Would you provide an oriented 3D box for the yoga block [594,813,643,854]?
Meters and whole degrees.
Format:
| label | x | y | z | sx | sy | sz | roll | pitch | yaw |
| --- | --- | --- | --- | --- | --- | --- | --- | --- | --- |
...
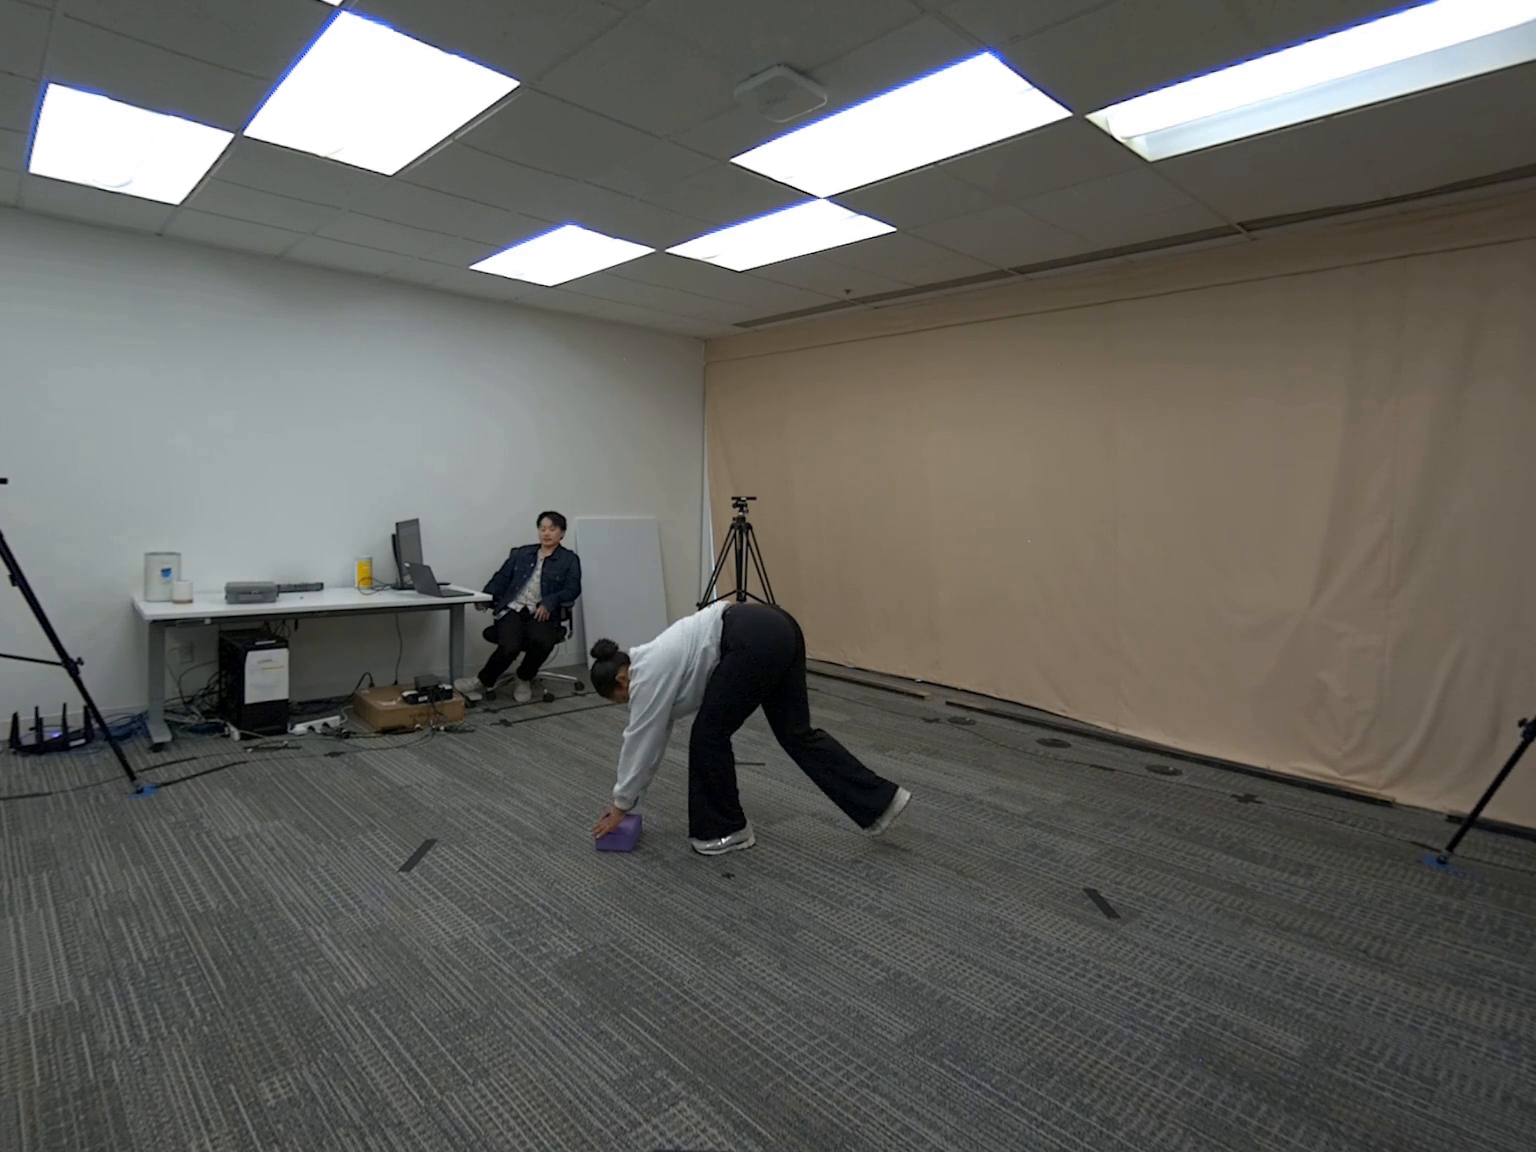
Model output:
| label | x | y | z | sx | sy | sz | roll | pitch | yaw |
| --- | --- | --- | --- | --- | --- | --- | --- | --- | --- |
| yoga block | -0.603 | 1.025 | 3.399 | 0.149 | 0.076 | 0.229 | 0 | 5 | 3 |
